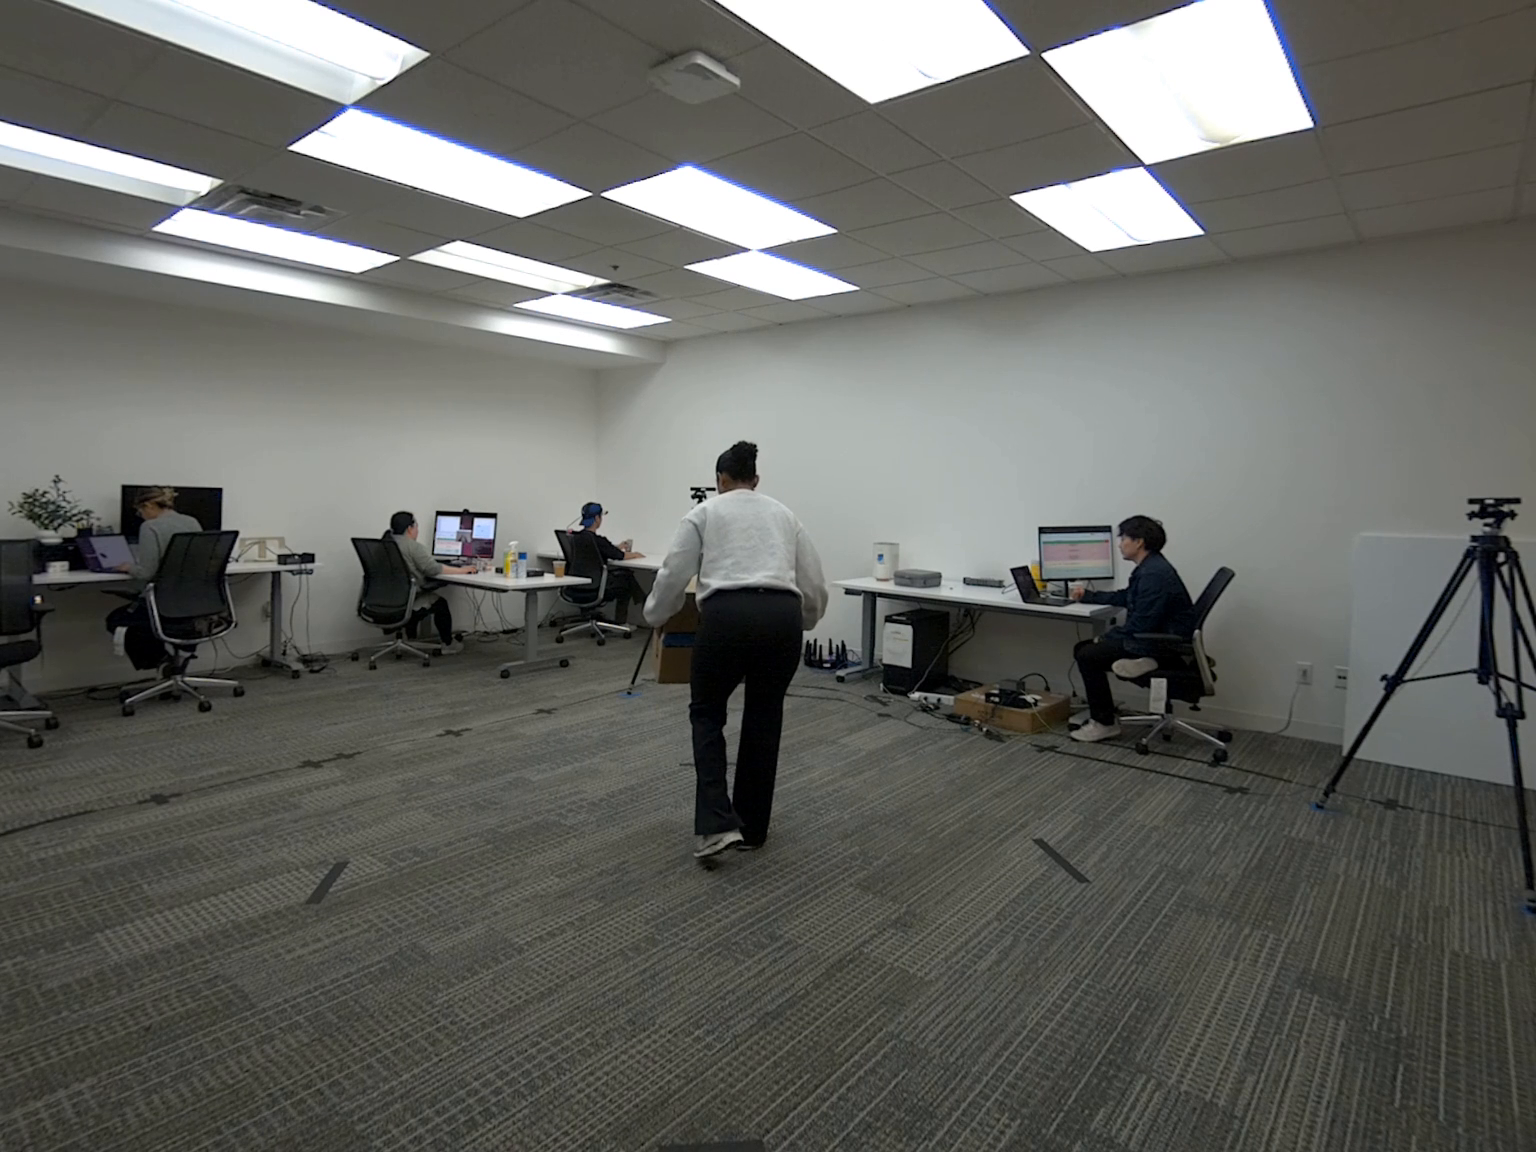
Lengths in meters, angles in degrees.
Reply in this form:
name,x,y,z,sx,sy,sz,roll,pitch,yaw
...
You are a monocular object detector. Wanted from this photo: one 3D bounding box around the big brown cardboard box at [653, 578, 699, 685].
name,x,y,z,sx,sy,sz,roll,pitch,yaw
big brown cardboard box,-0.177,0.227,3.582,0.582,0.411,0.239,2,19,-11
